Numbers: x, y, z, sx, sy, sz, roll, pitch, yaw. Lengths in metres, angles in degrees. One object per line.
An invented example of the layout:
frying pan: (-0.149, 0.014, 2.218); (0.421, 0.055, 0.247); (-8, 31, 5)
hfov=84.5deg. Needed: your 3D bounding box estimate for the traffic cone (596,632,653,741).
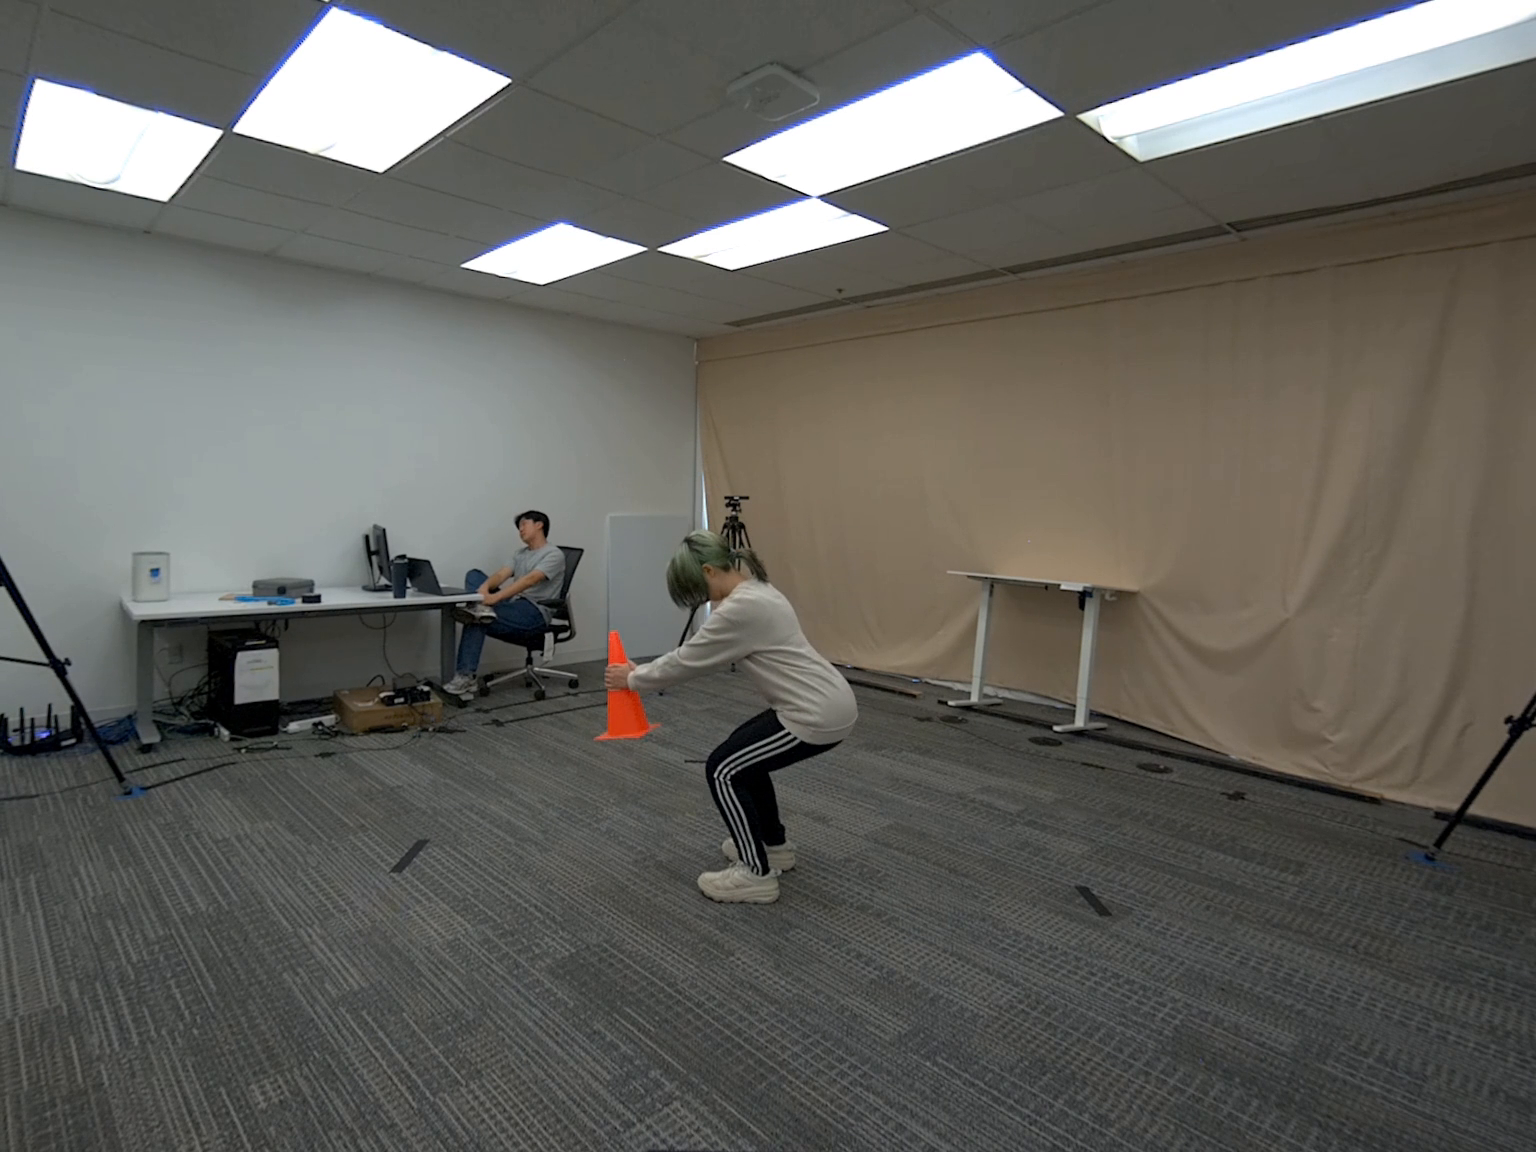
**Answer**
traffic cone: (-0.556, 0.399, 3.180); (0.206, 0.384, 0.202); (-7, -1, 21)
